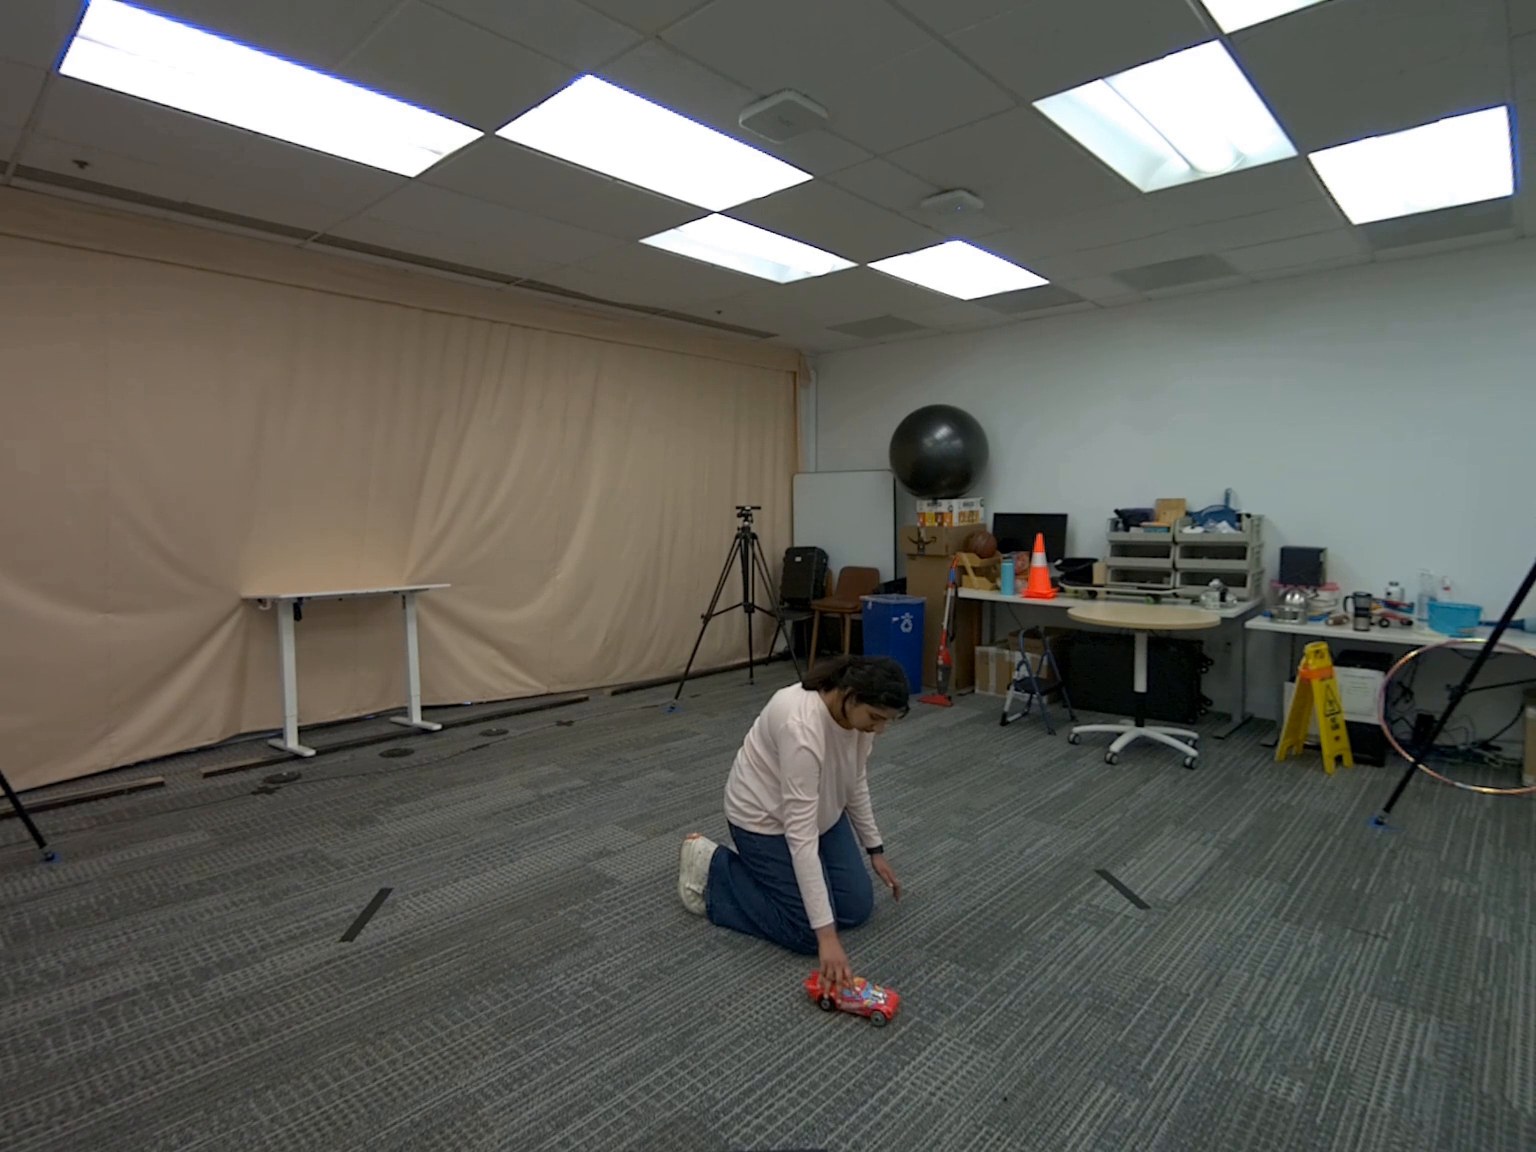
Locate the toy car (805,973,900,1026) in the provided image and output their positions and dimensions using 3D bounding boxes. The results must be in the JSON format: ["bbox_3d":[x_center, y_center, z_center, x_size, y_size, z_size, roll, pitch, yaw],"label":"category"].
[{"bbox_3d":[0.225,1.161,2.347,0.261,0.083,0.127,14,9,23],"label":"toy car"}]
